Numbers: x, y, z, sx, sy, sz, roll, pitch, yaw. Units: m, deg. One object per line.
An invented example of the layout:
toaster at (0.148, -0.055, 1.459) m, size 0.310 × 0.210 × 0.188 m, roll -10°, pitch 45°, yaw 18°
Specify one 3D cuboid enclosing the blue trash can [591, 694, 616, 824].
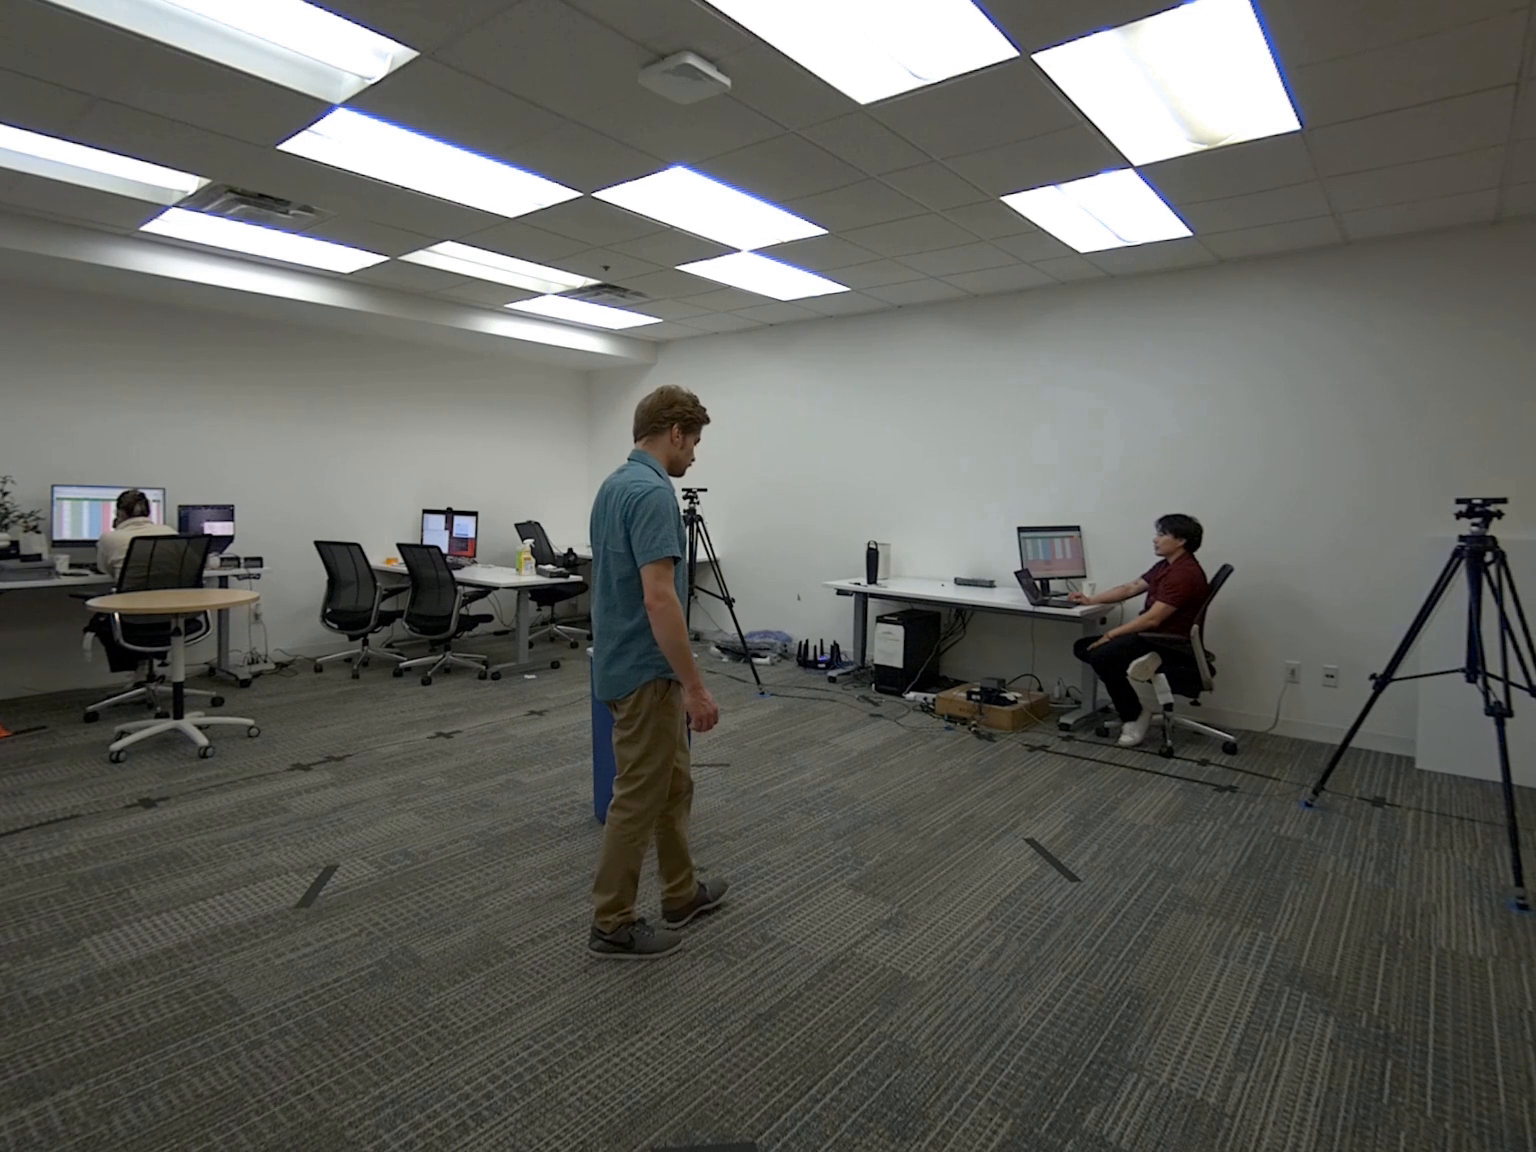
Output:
blue trash can at (-0.543, 0.662, 3.535) m, size 0.368 × 0.712 × 0.385 m, roll 0°, pitch 3°, yaw -29°
